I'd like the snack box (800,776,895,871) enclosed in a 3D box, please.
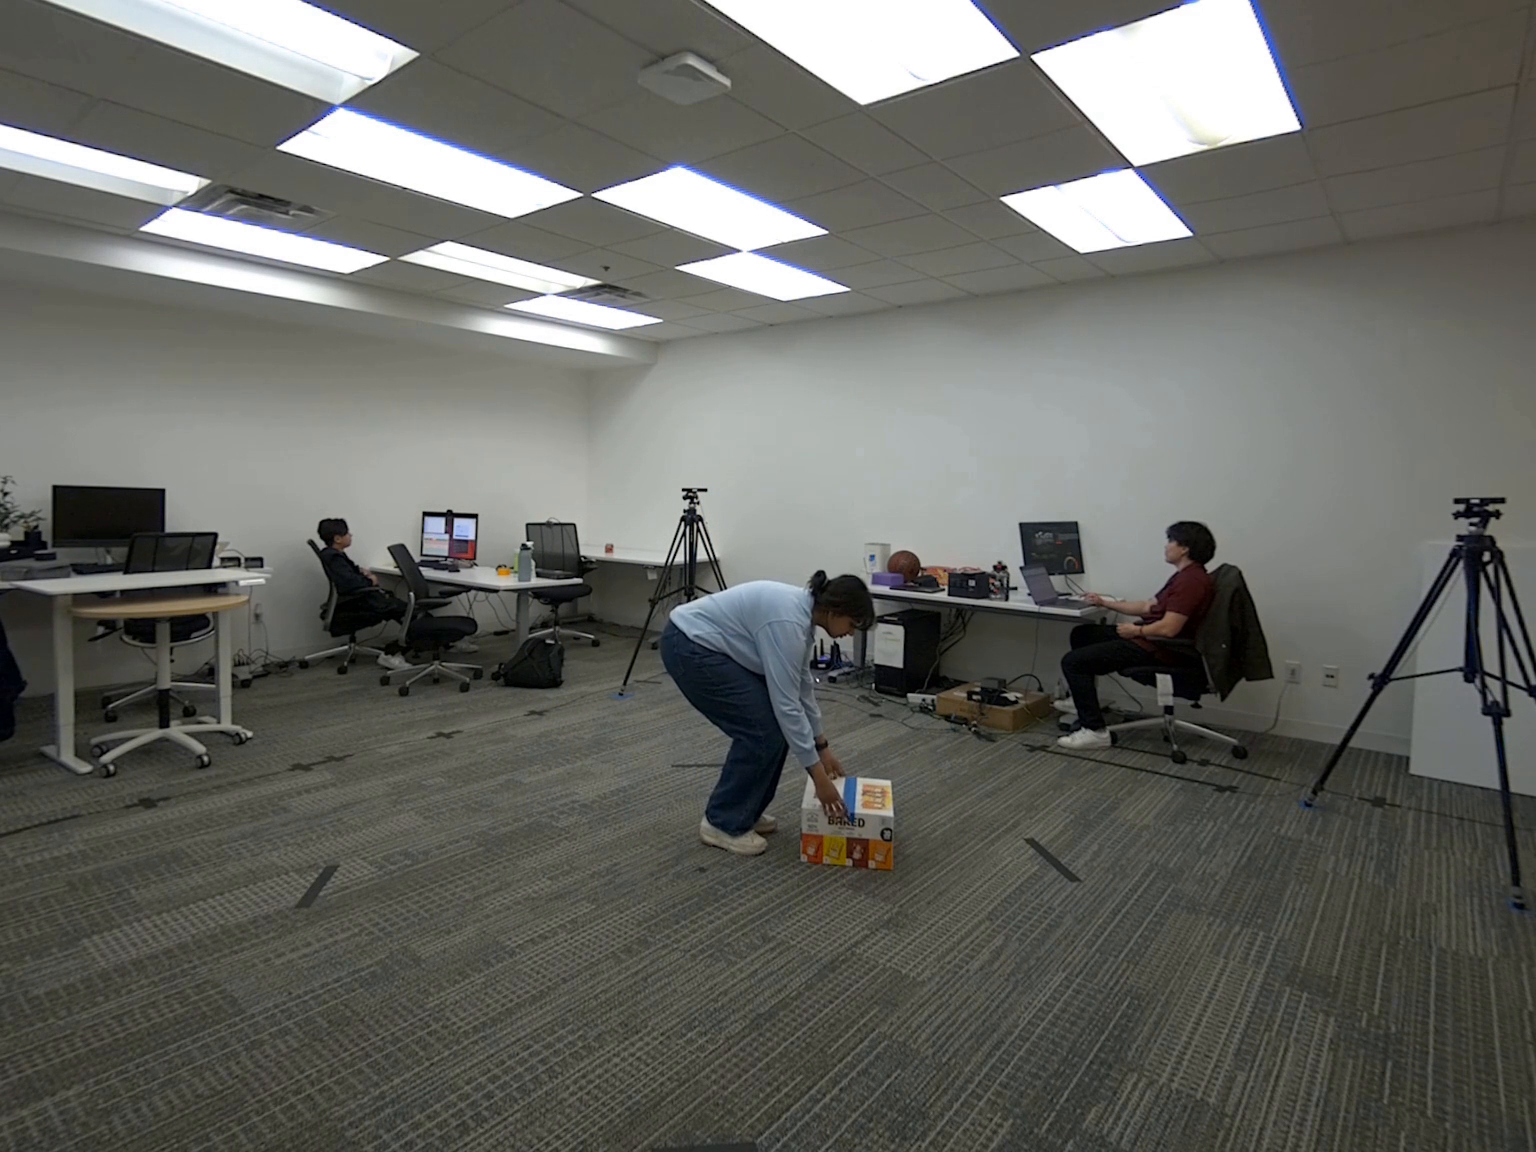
[{"bbox_3d":[0.308,0.957,3.357,0.344,0.205,0.403,2,5,8],"label":"snack box"}]
